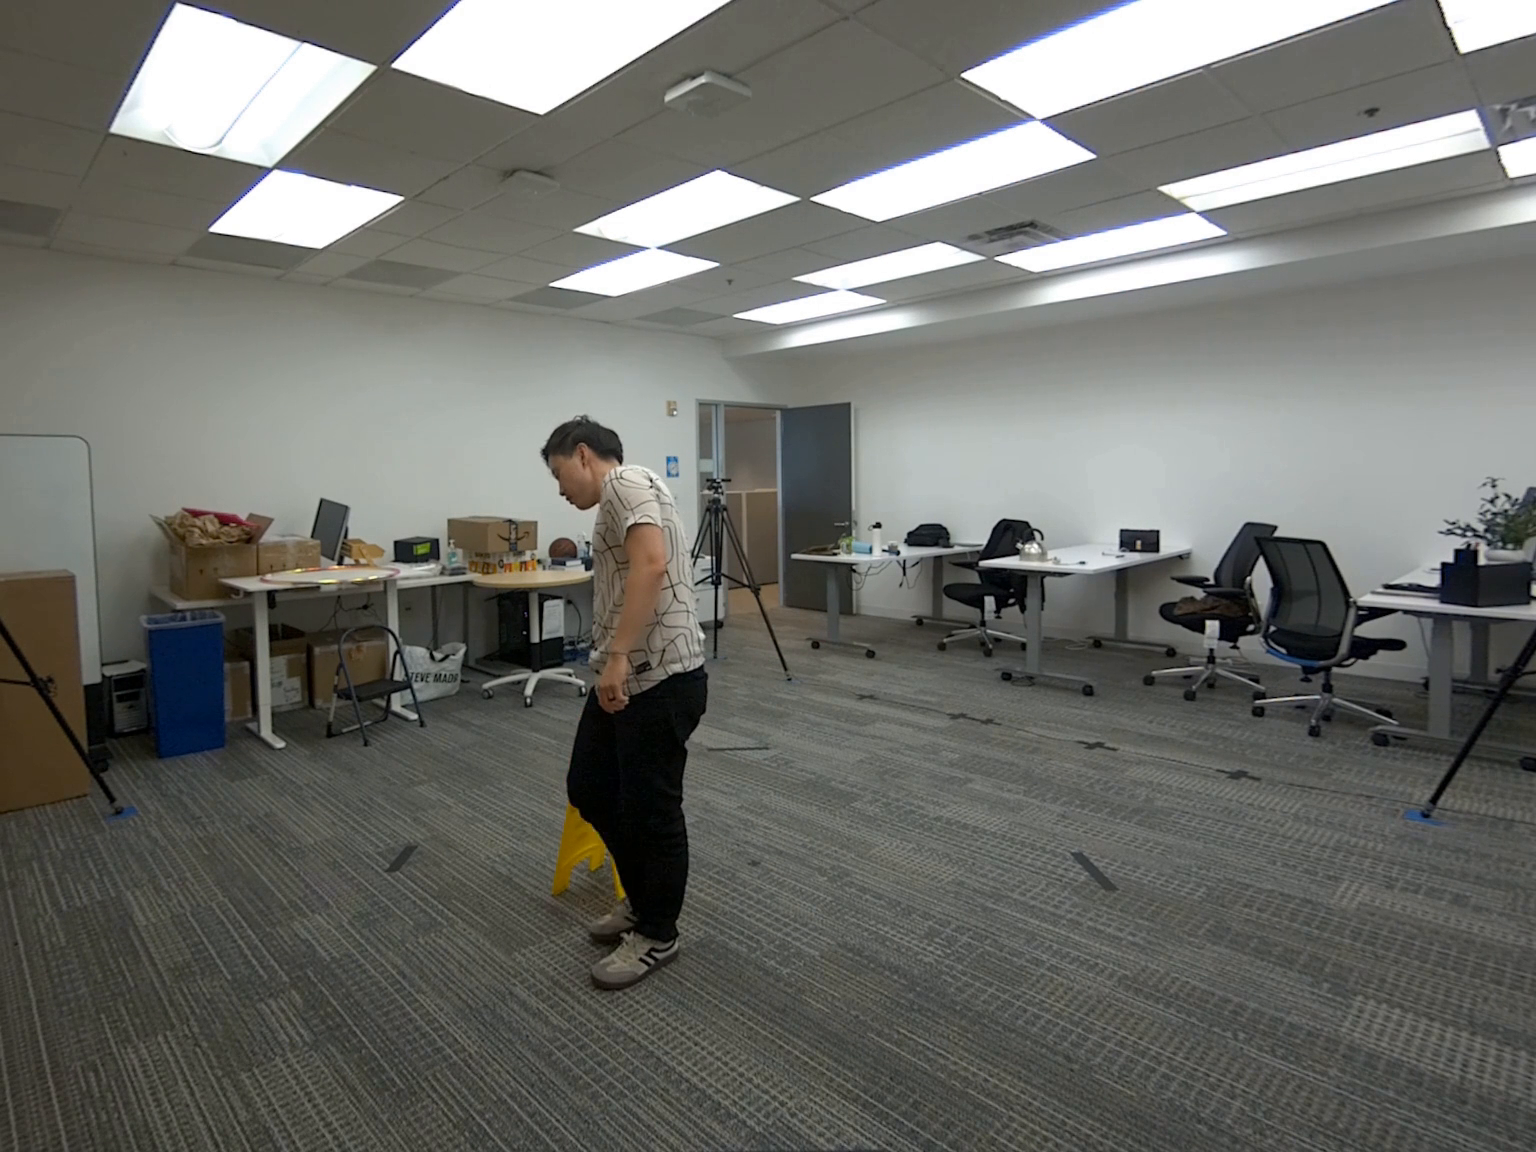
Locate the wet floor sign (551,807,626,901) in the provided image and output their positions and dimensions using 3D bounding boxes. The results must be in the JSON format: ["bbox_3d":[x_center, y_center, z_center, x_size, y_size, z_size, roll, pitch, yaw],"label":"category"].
[{"bbox_3d":[-0.537,0.753,2.914,0.297,0.643,0.276,2,6,28],"label":"wet floor sign"}]
